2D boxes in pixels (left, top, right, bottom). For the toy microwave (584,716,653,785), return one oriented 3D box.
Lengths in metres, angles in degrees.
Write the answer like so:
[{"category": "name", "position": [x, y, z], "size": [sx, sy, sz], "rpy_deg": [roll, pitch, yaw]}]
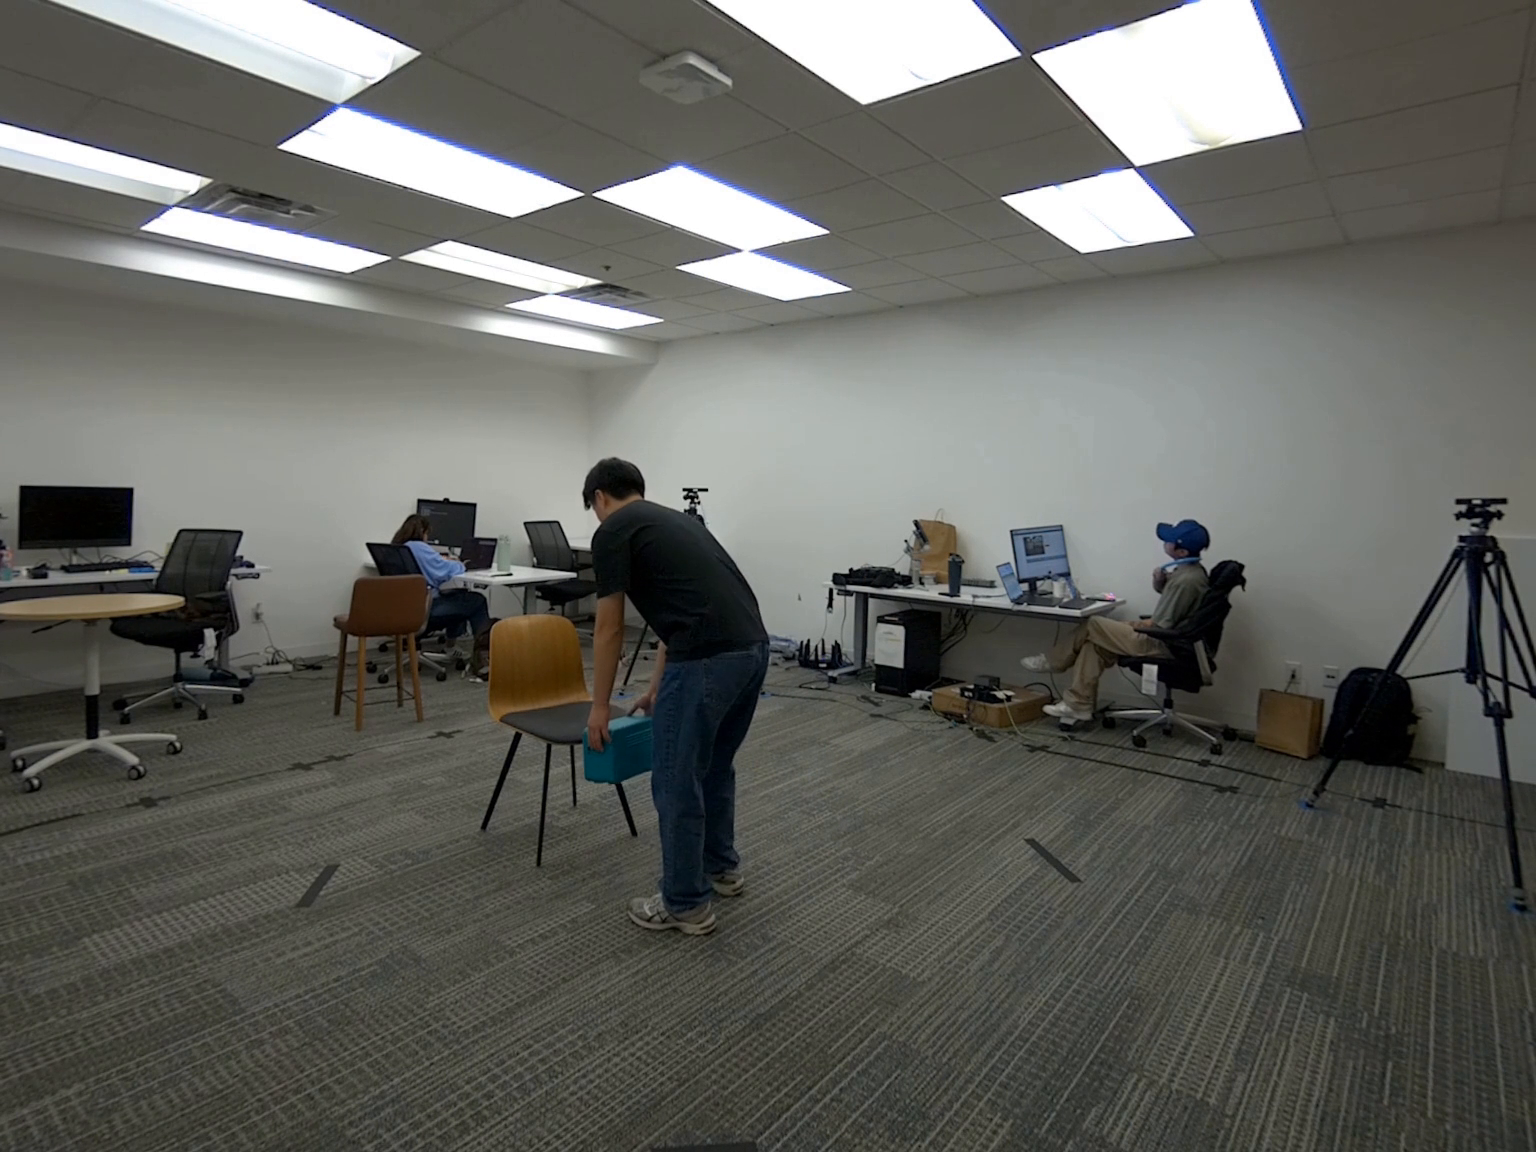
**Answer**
[{"category": "toy microwave", "position": [-0.510, 0.584, 2.894], "size": [0.156, 0.184, 0.278], "rpy_deg": [-4, -1, 27]}]
